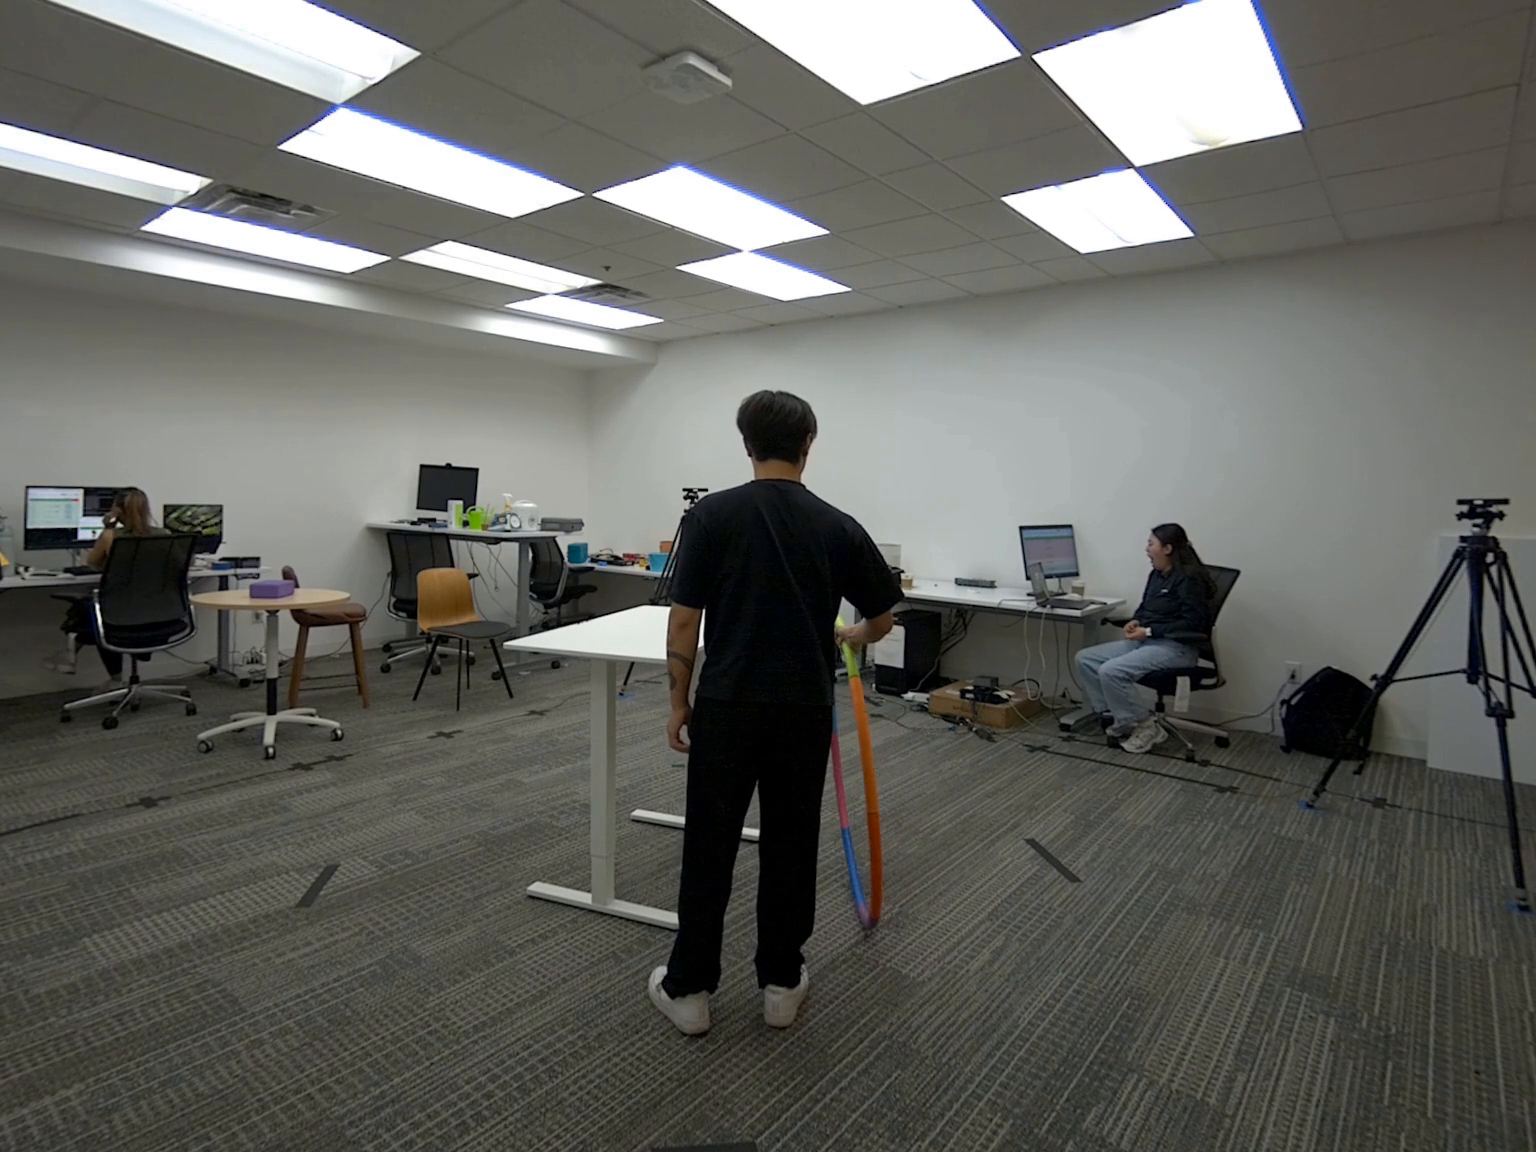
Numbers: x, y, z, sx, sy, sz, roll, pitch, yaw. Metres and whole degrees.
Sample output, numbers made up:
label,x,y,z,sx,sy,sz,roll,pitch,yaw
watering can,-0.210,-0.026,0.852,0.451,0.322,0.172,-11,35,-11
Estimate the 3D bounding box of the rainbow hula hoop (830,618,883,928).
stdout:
label,x,y,z,sx,sy,sz,roll,pitch,yaw
rainbow hula hoop,0.264,0.624,2.812,0.035,0.975,0.982,-5,4,-1
